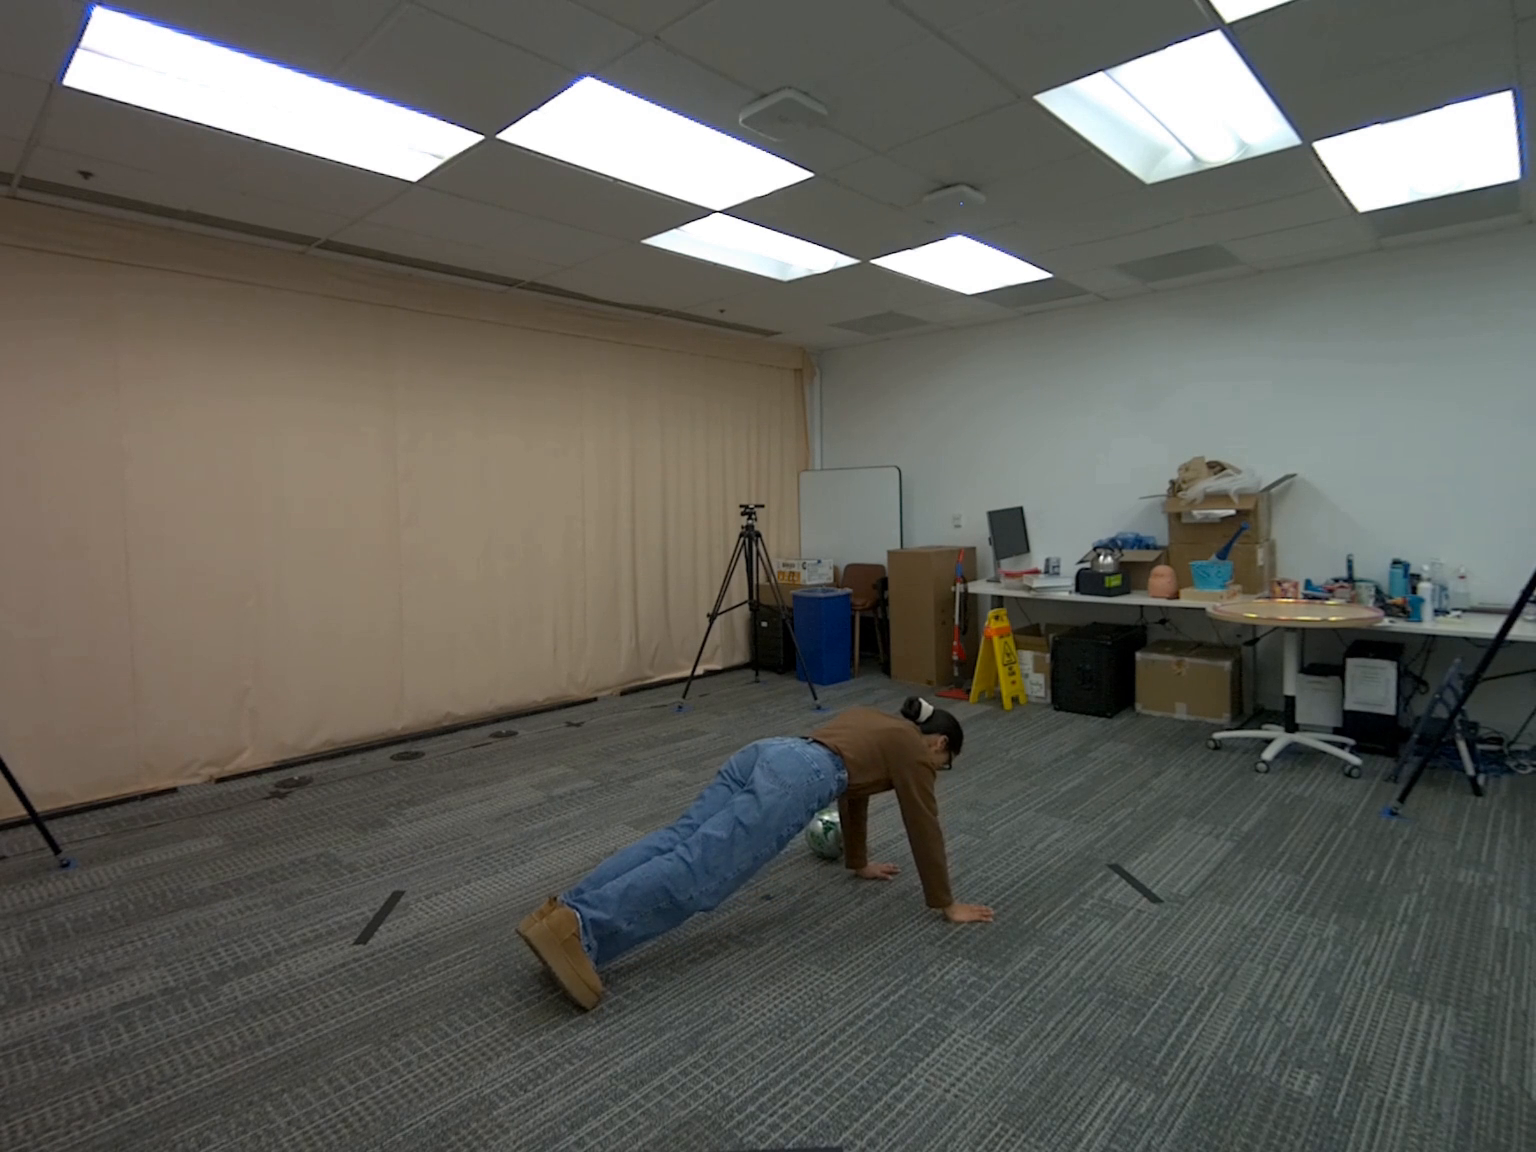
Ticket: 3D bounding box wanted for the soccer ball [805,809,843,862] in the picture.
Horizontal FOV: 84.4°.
[{"bbox_3d":[0.243,1.010,3.310,0.187,0.187,0.188,-1,4,-2],"label":"soccer ball"}]
